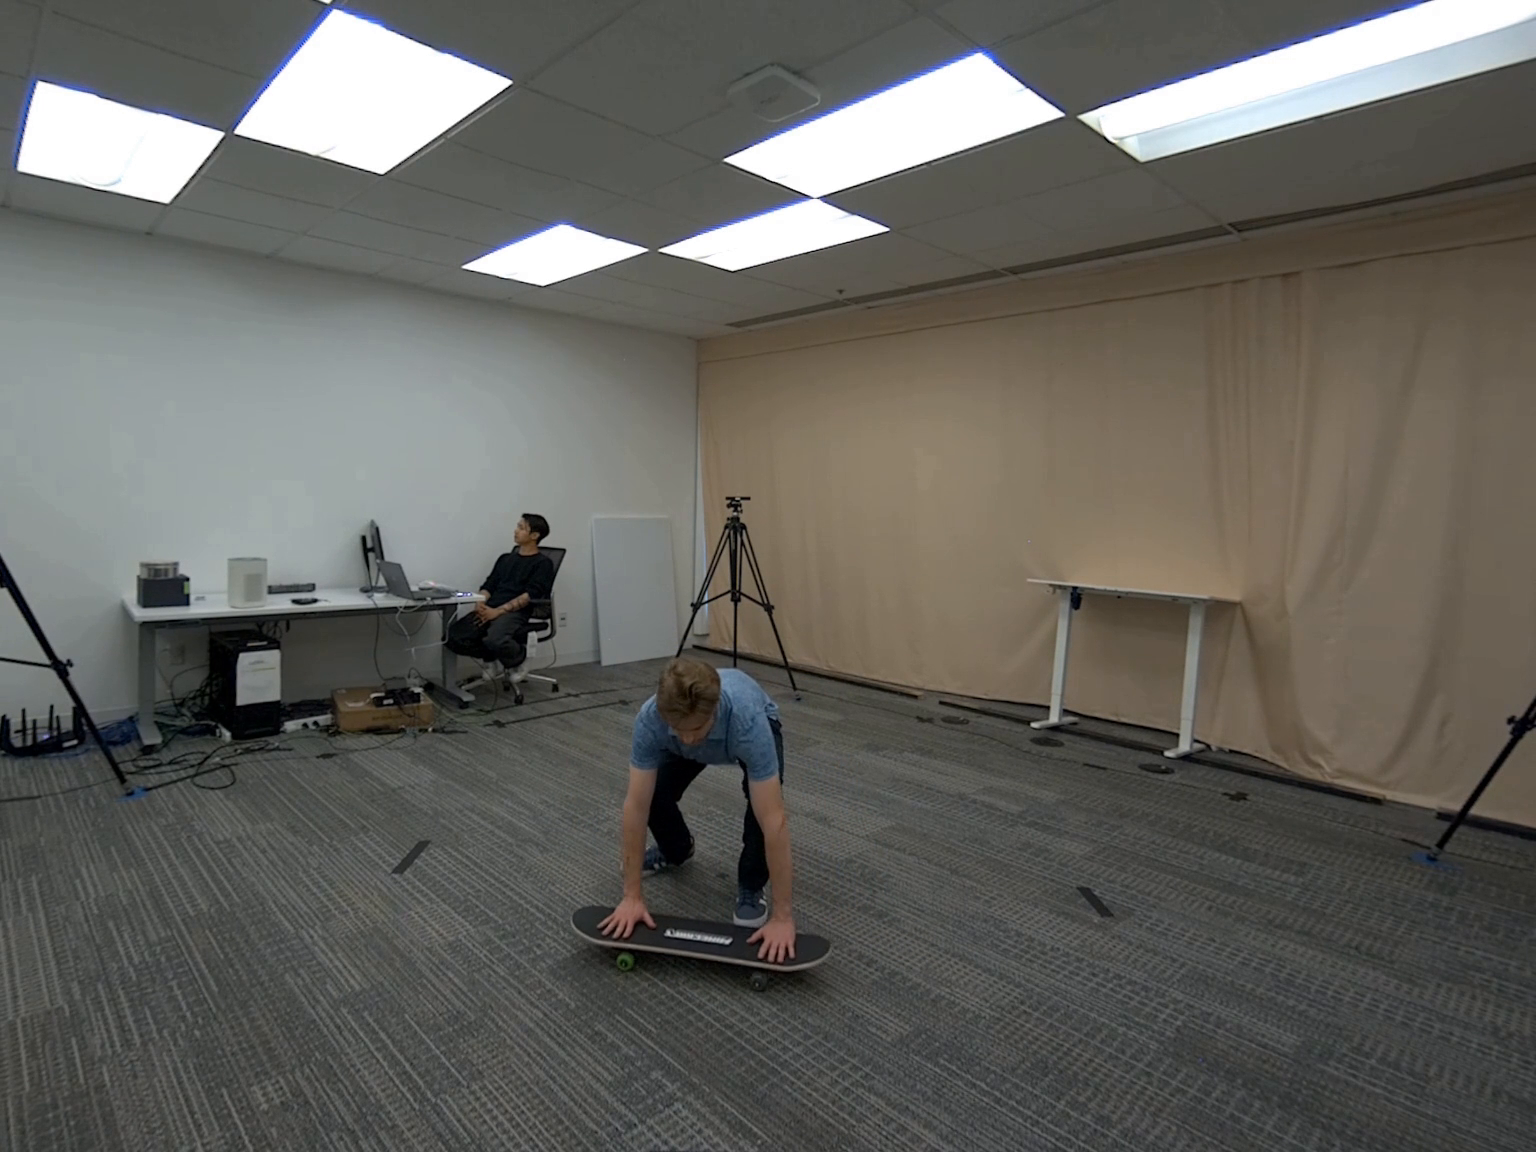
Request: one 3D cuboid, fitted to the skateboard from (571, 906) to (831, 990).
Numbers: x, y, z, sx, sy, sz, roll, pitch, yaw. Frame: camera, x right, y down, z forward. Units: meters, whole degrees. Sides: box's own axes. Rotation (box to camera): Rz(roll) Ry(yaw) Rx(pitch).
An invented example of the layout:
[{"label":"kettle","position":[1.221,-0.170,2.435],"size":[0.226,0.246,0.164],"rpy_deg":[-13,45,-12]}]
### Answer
[{"label":"skateboard","position":[-0.219,1.102,2.504],"size":[0.793,0.110,0.192],"rpy_deg":[2,6,11]}]
